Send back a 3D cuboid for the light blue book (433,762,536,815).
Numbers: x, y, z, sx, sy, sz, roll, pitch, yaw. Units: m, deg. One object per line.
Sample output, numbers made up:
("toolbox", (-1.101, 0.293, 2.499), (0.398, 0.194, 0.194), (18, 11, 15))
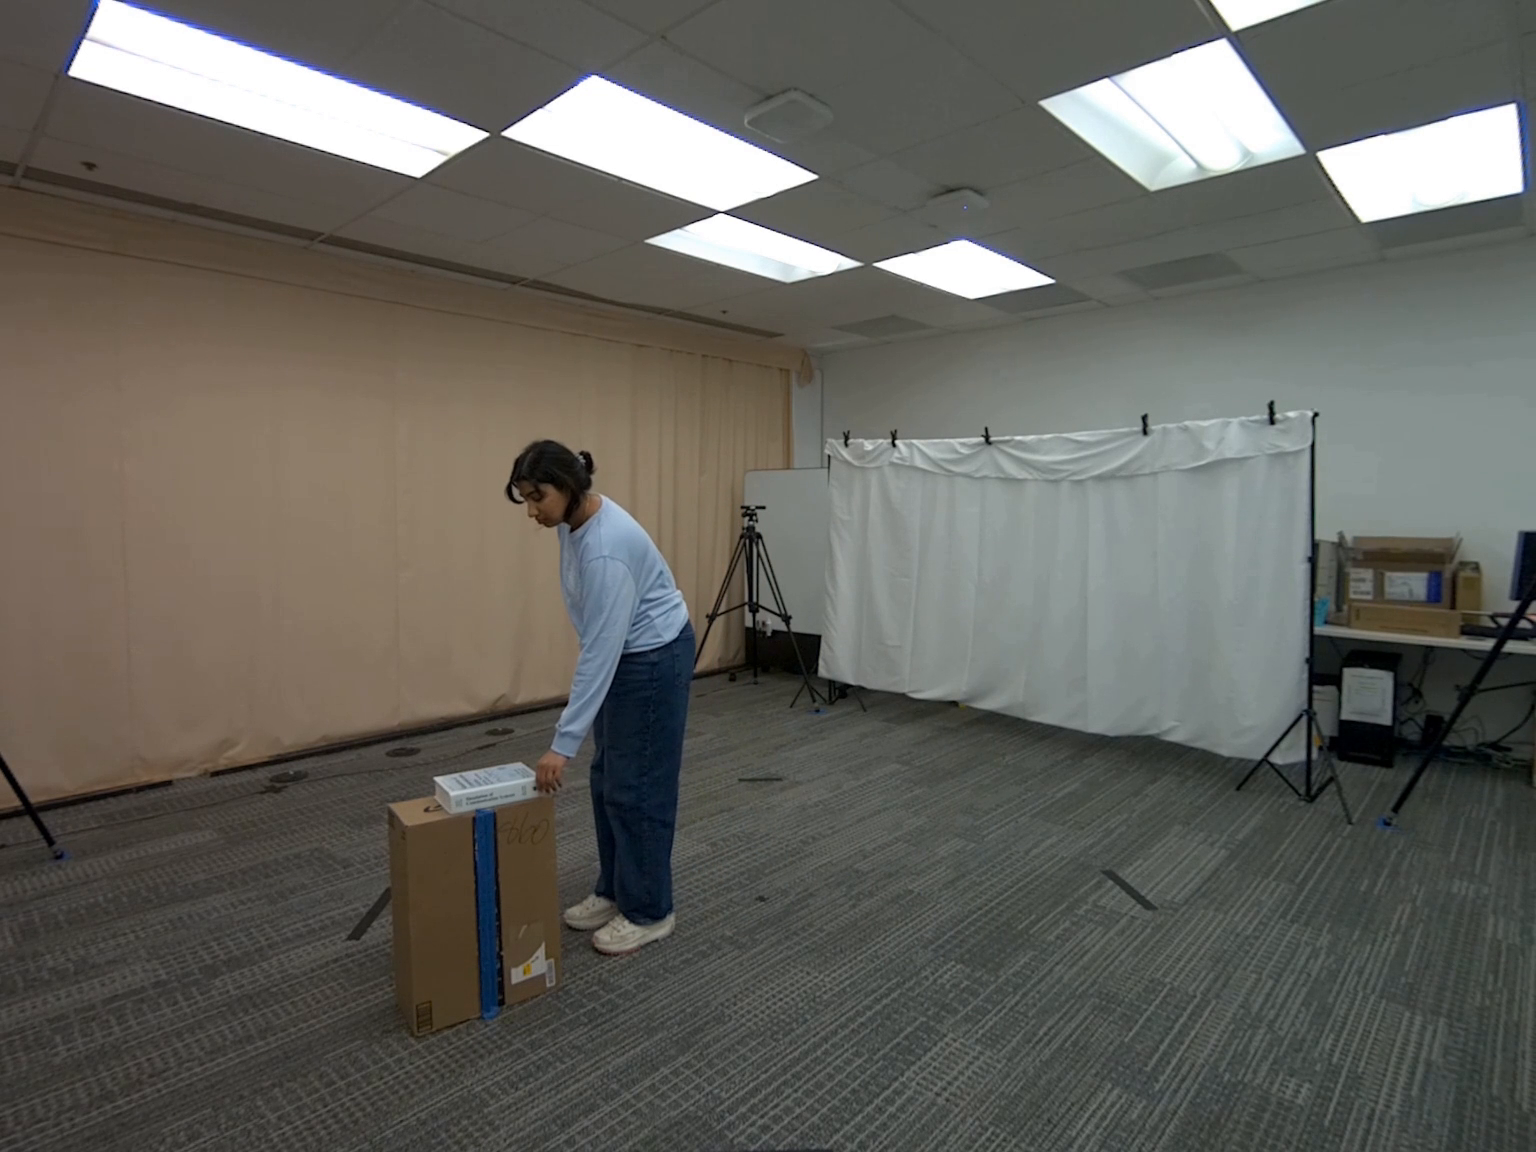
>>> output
("light blue book", (-0.802, 0.605, 2.415), (0.253, 0.059, 0.197), (-3, 4, -34))
